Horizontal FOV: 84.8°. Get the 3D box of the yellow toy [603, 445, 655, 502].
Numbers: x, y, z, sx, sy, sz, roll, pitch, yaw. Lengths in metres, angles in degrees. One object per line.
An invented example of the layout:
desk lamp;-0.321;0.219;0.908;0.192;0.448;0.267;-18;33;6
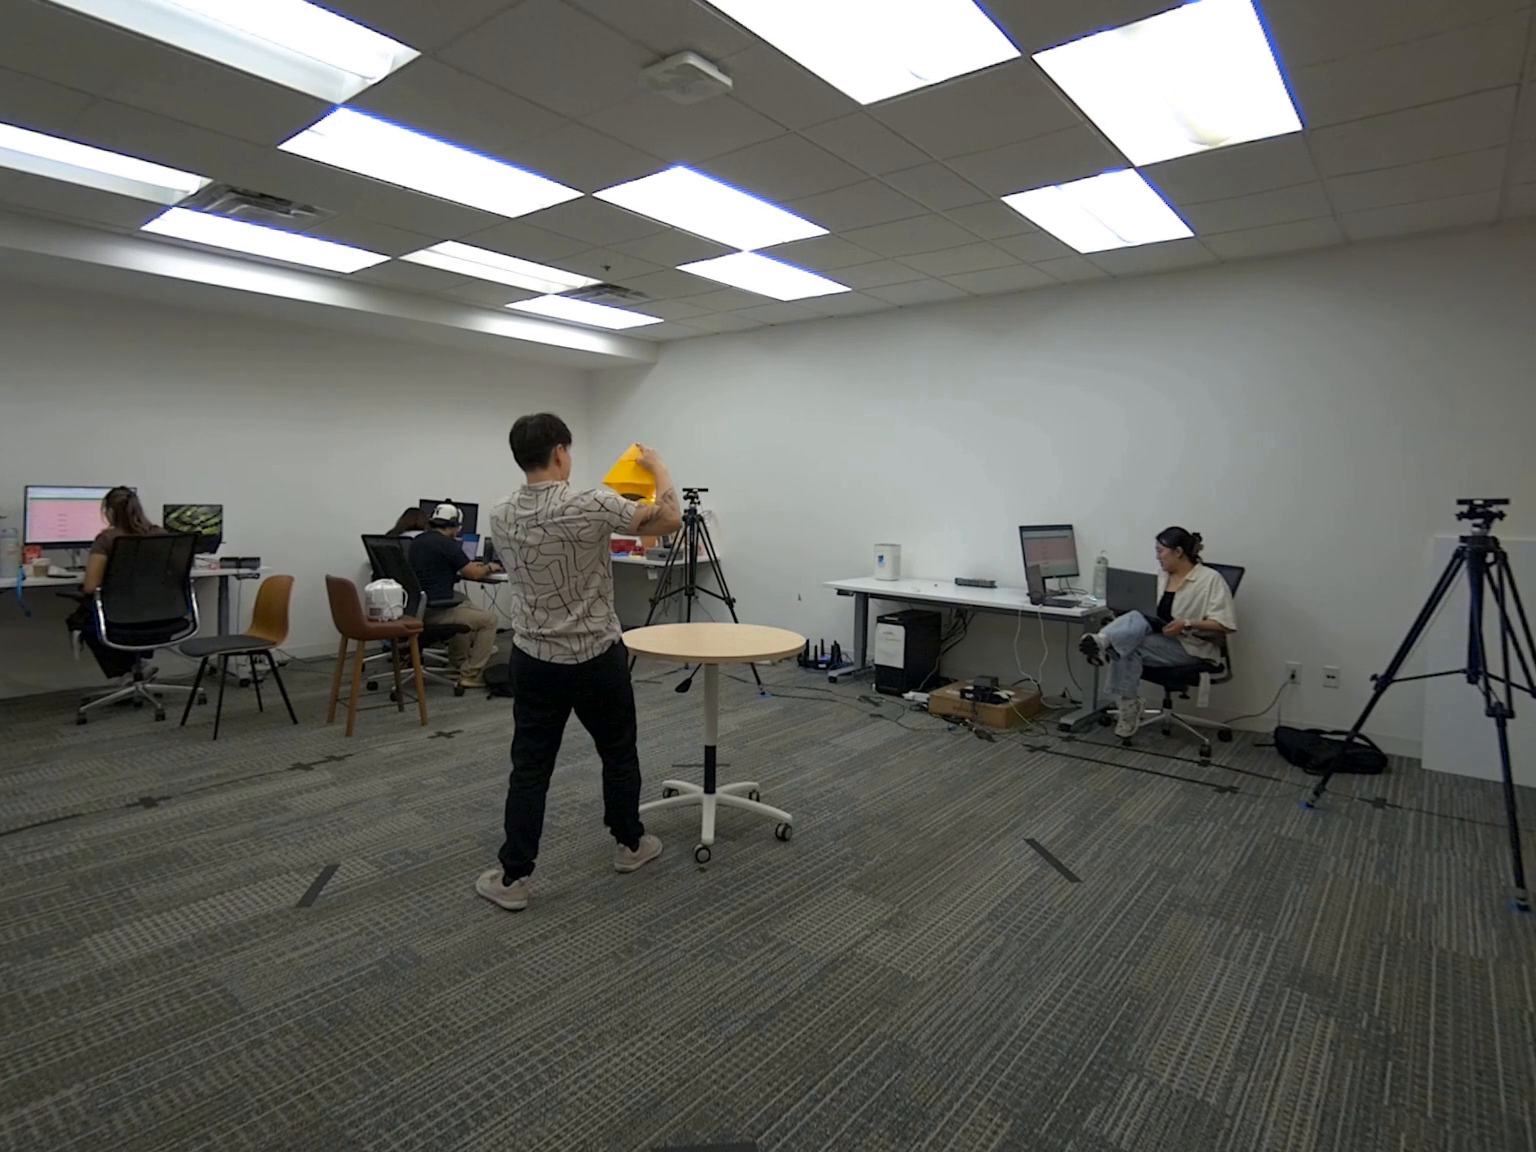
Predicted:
yellow toy;-0.498;-0.357;3.107;0.207;0.232;0.190;2;-7;8
